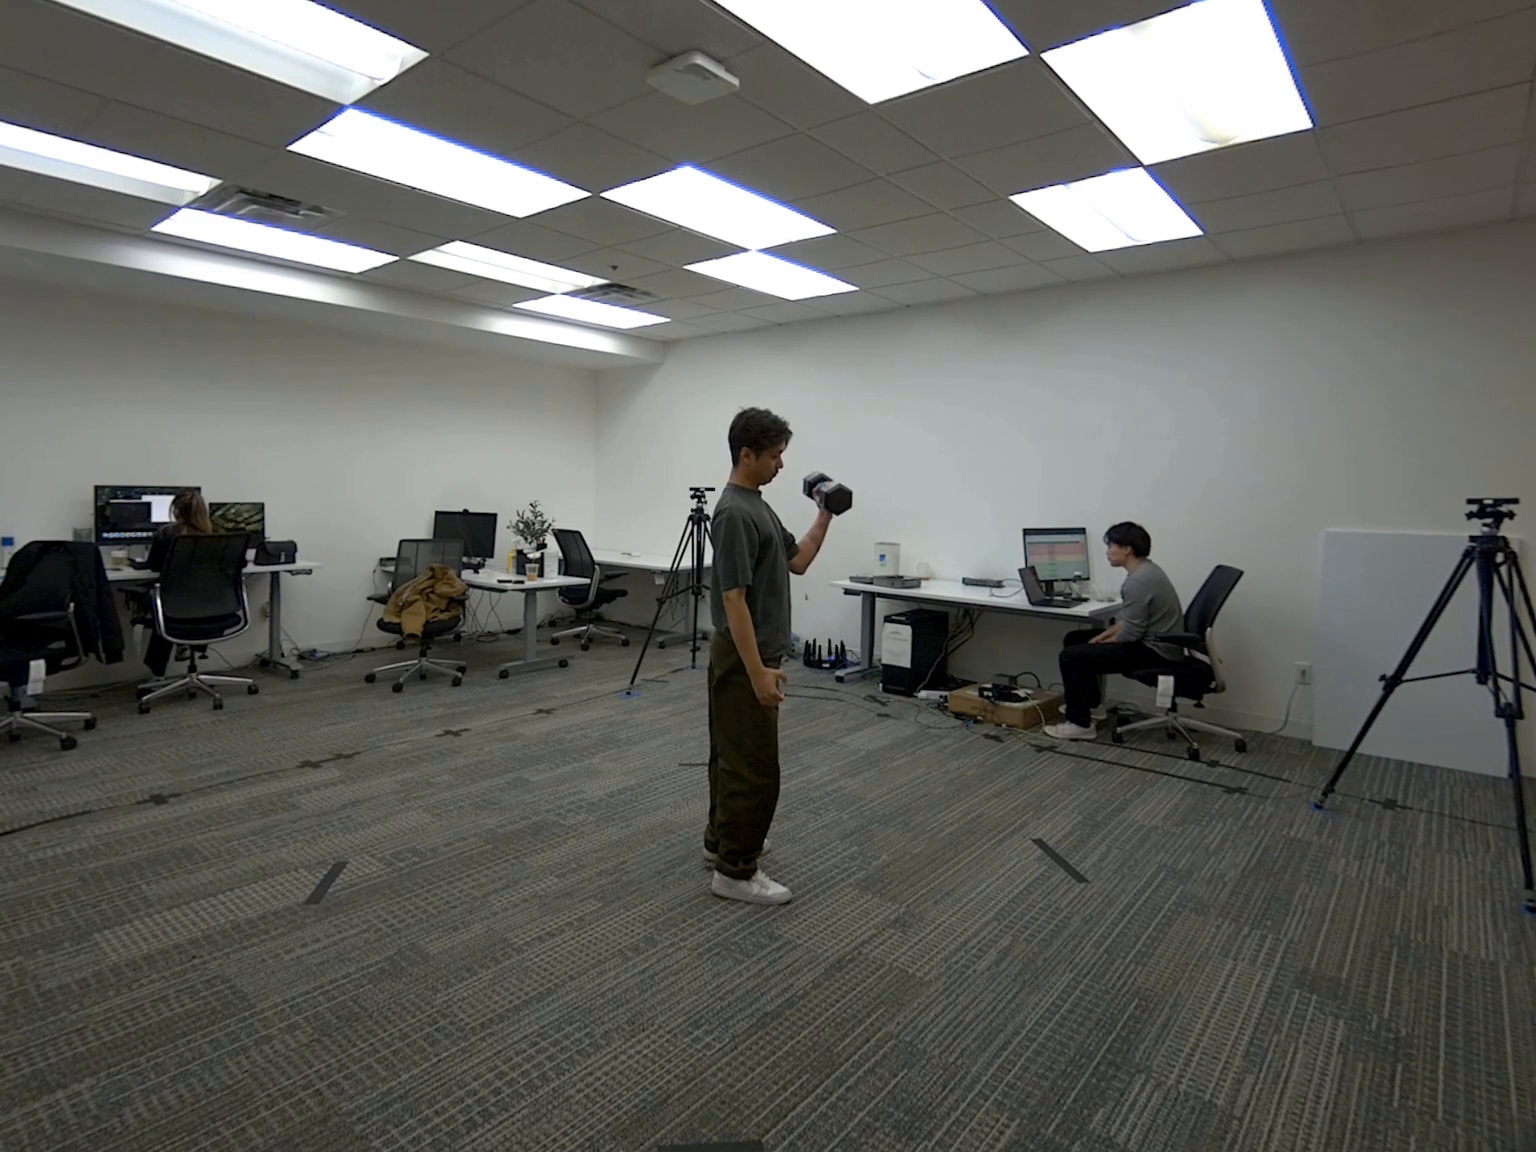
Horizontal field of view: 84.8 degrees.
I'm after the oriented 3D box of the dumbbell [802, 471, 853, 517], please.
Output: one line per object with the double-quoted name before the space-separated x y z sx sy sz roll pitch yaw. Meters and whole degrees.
"dumbbell" 0.214 -0.314 3.220 0.120 0.108 0.301 29 7 -20
